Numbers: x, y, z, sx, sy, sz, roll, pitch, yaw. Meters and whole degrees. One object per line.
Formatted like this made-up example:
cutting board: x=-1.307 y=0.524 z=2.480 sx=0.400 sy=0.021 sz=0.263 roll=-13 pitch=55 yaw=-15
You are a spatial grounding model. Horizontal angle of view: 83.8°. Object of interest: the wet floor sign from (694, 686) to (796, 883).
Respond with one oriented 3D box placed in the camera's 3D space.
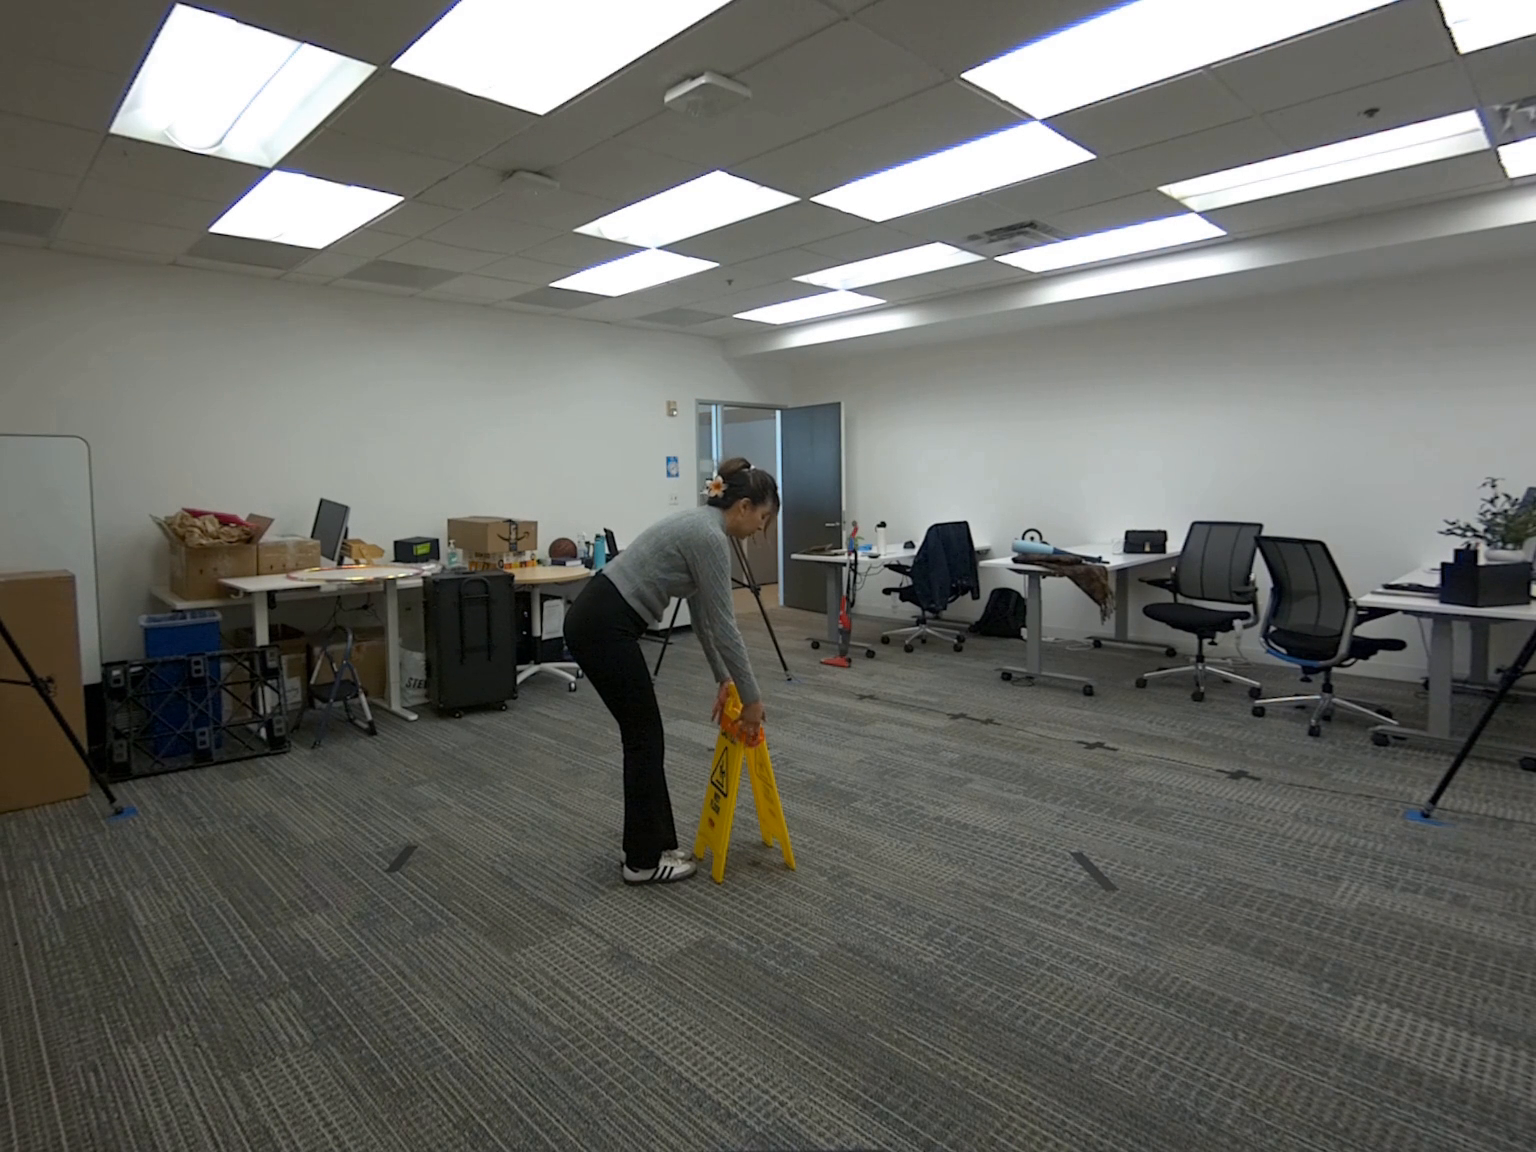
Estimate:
wet floor sign: x=-0.090 y=0.718 z=3.109 sx=0.284 sy=0.643 sz=0.289 roll=-2 pitch=5 yaw=-21
